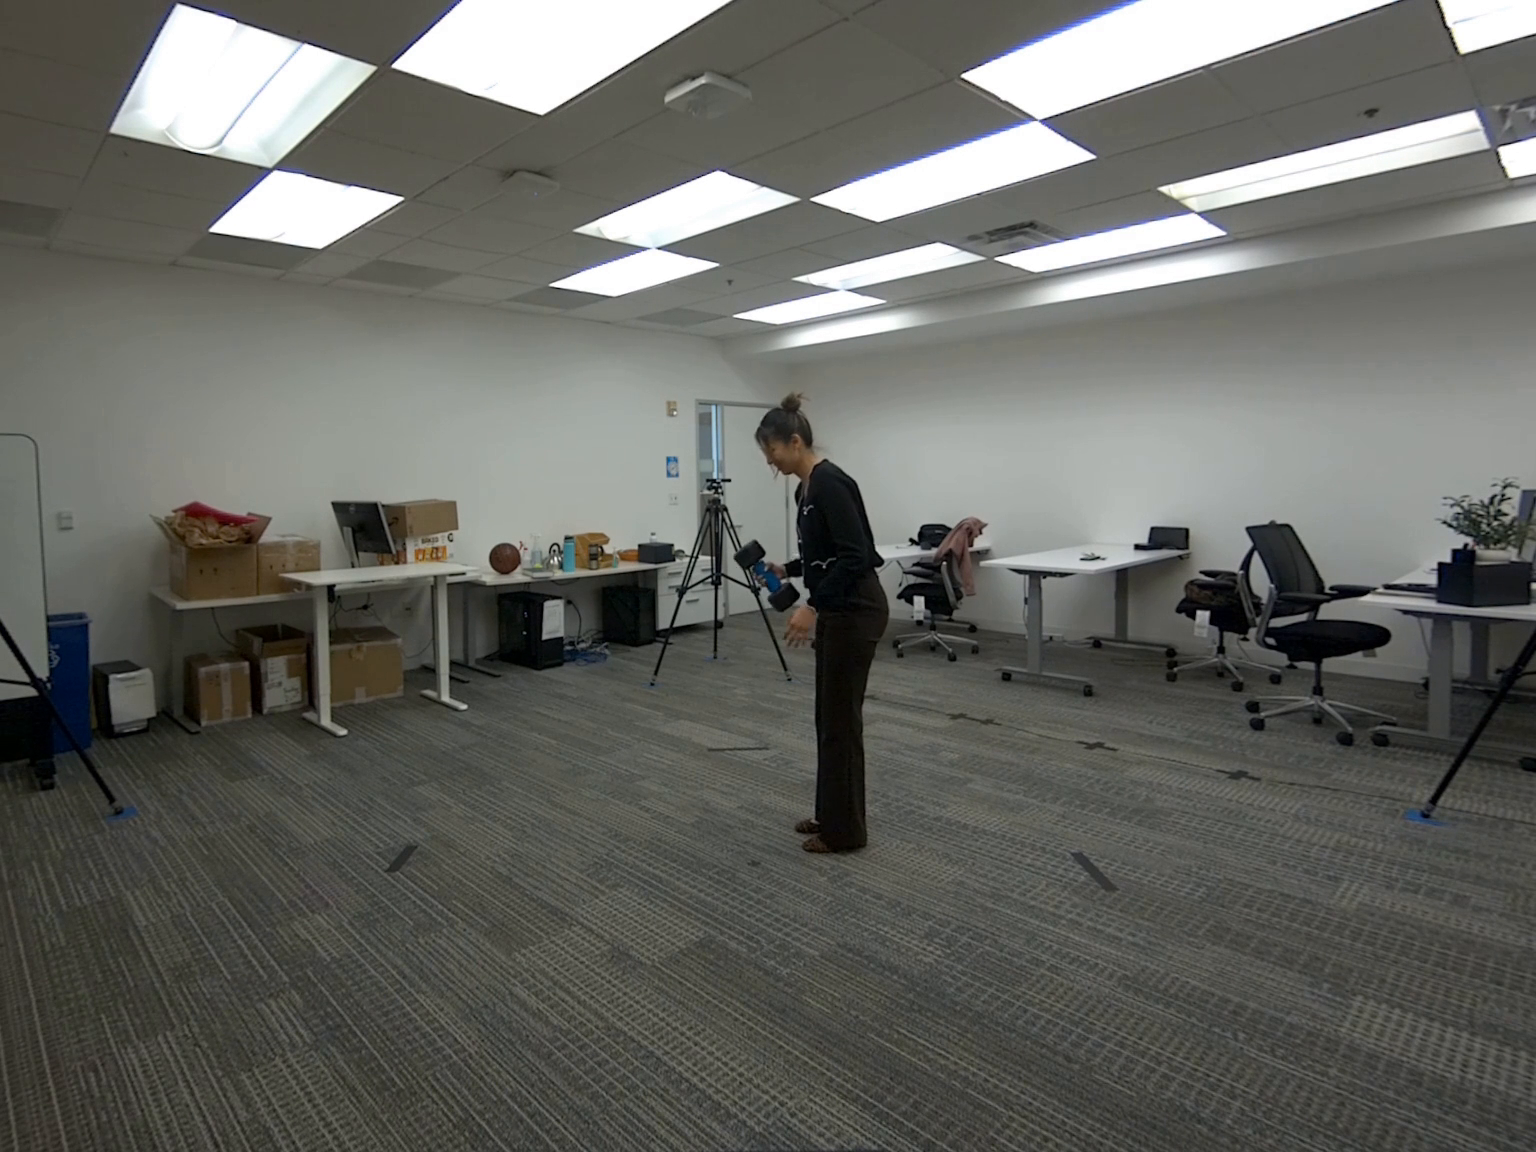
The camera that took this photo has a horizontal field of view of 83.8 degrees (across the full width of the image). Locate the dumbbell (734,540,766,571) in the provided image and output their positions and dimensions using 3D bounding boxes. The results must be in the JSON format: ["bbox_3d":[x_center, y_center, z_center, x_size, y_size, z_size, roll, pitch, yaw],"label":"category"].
[{"bbox_3d":[0.003,0.002,3.331,0.108,0.294,0.123,-38,0,-12],"label":"dumbbell"}]
